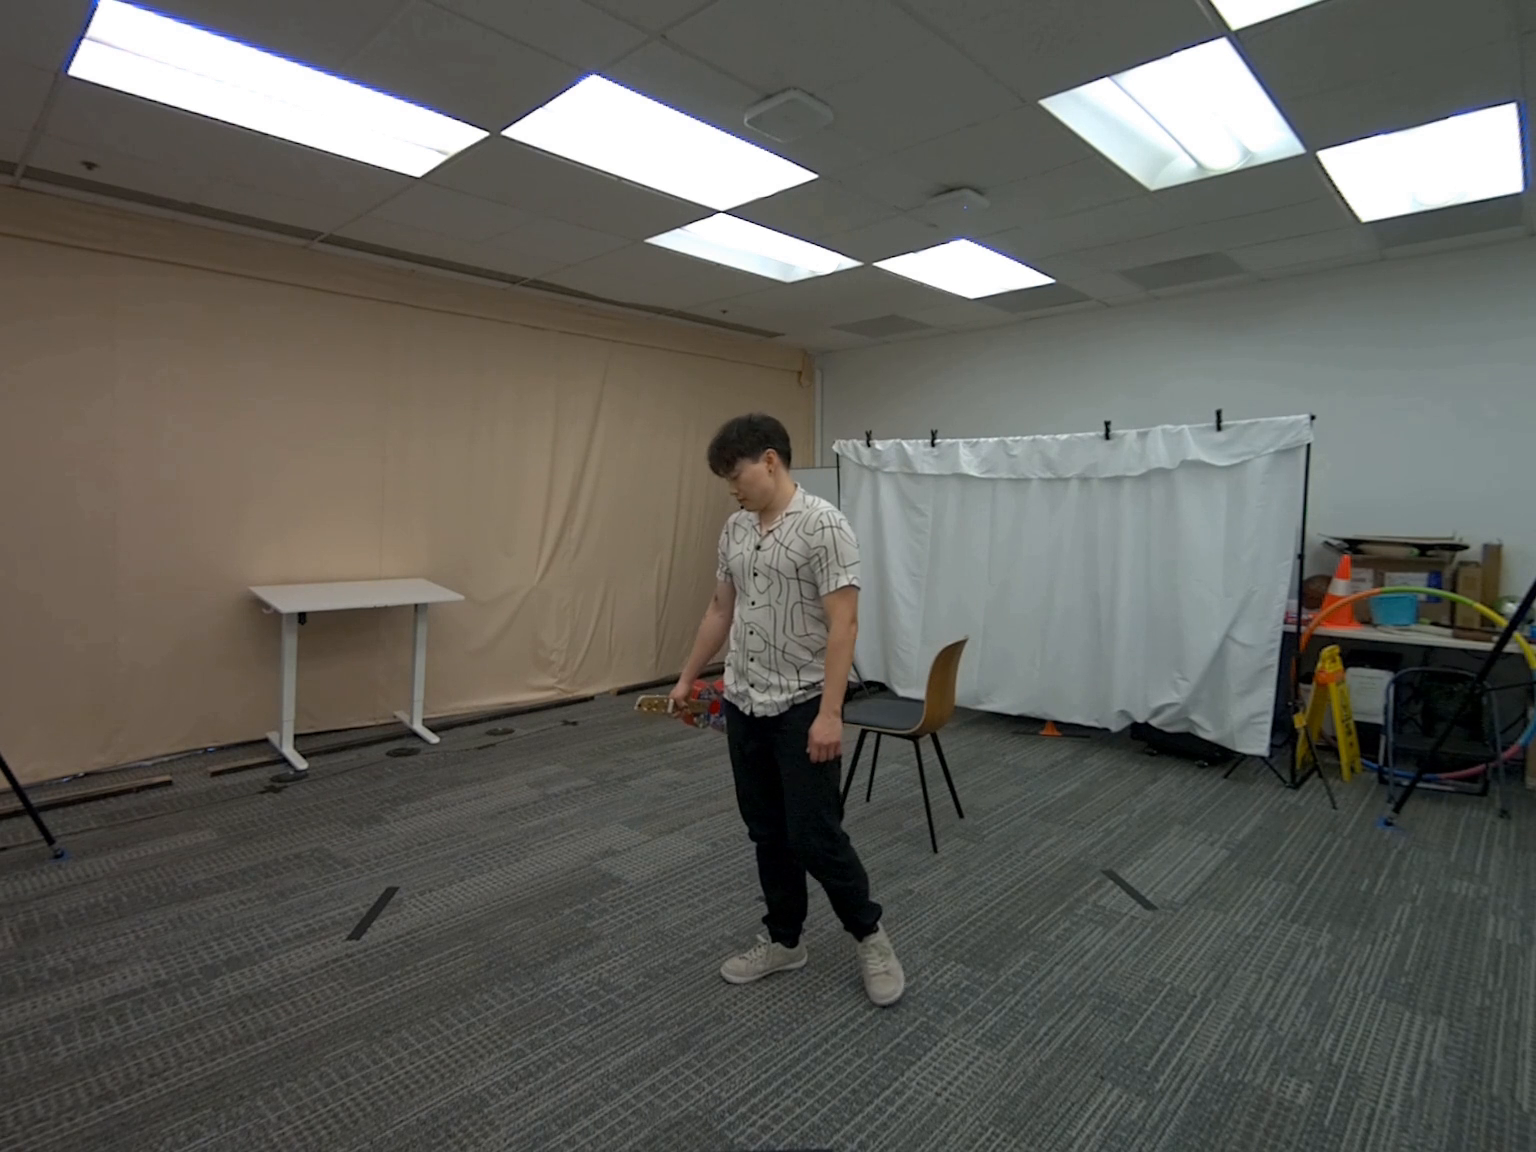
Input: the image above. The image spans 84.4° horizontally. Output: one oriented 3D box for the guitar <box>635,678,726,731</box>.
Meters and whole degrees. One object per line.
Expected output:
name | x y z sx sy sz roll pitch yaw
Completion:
guitar | -0.220 0.387 2.696 0.073 0.193 0.480 9 -10 45
